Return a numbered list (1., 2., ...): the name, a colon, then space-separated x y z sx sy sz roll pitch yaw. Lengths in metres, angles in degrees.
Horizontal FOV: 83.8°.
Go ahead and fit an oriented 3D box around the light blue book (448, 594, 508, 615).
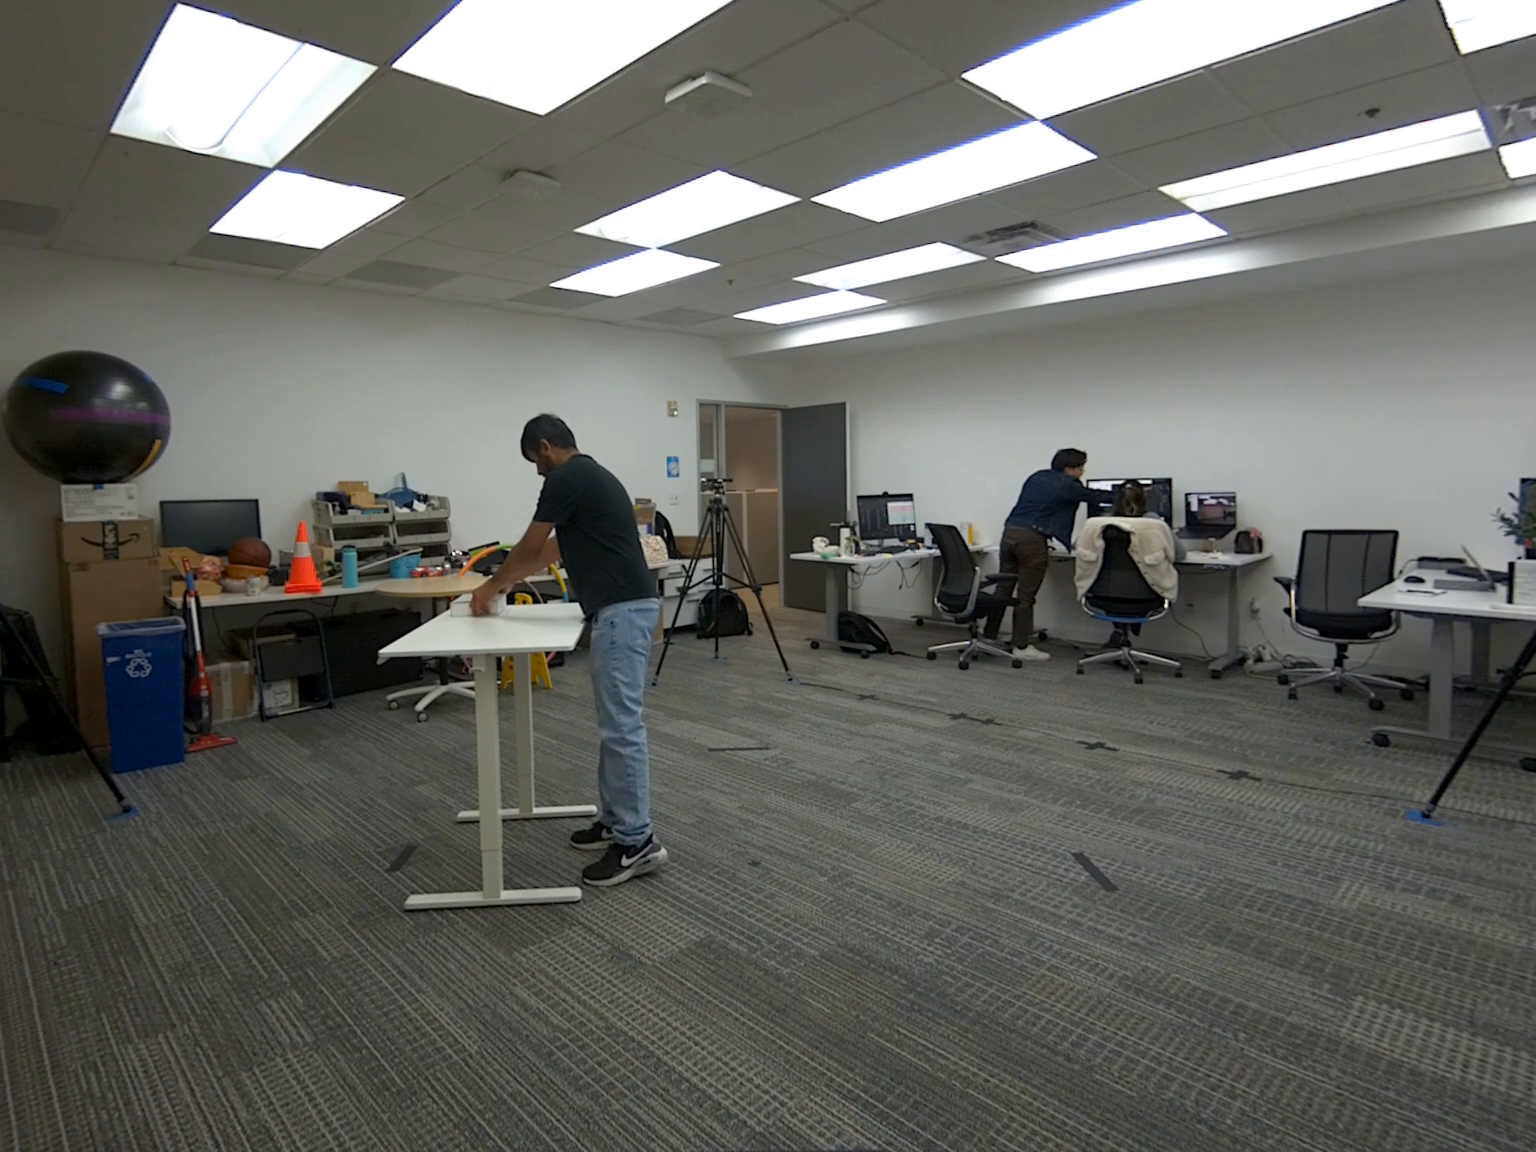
1. light blue book: -1.183 0.112 3.492 0.190 0.059 0.264 -4 6 -8
